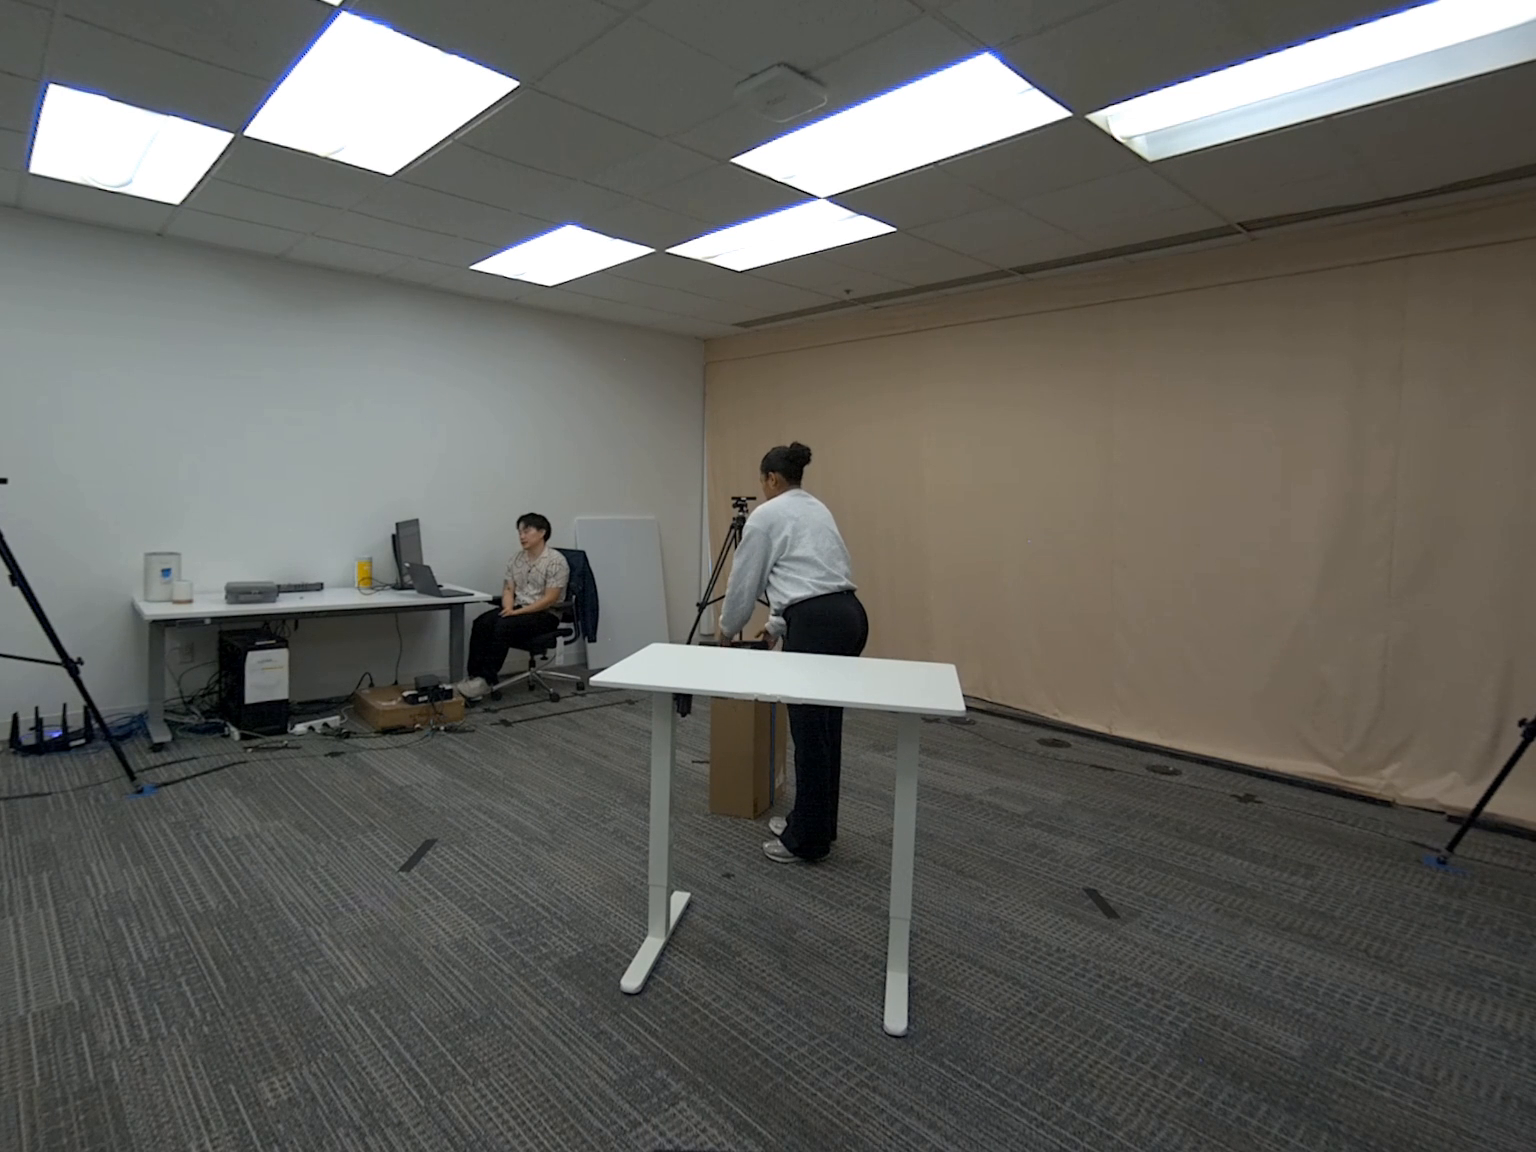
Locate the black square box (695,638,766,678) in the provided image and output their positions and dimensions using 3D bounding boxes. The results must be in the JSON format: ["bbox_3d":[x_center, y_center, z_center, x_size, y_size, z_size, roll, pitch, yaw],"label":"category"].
[{"bbox_3d":[-0.169,0.359,3.764,0.222,0.156,0.221,3,-5,-40],"label":"black square box"}]
